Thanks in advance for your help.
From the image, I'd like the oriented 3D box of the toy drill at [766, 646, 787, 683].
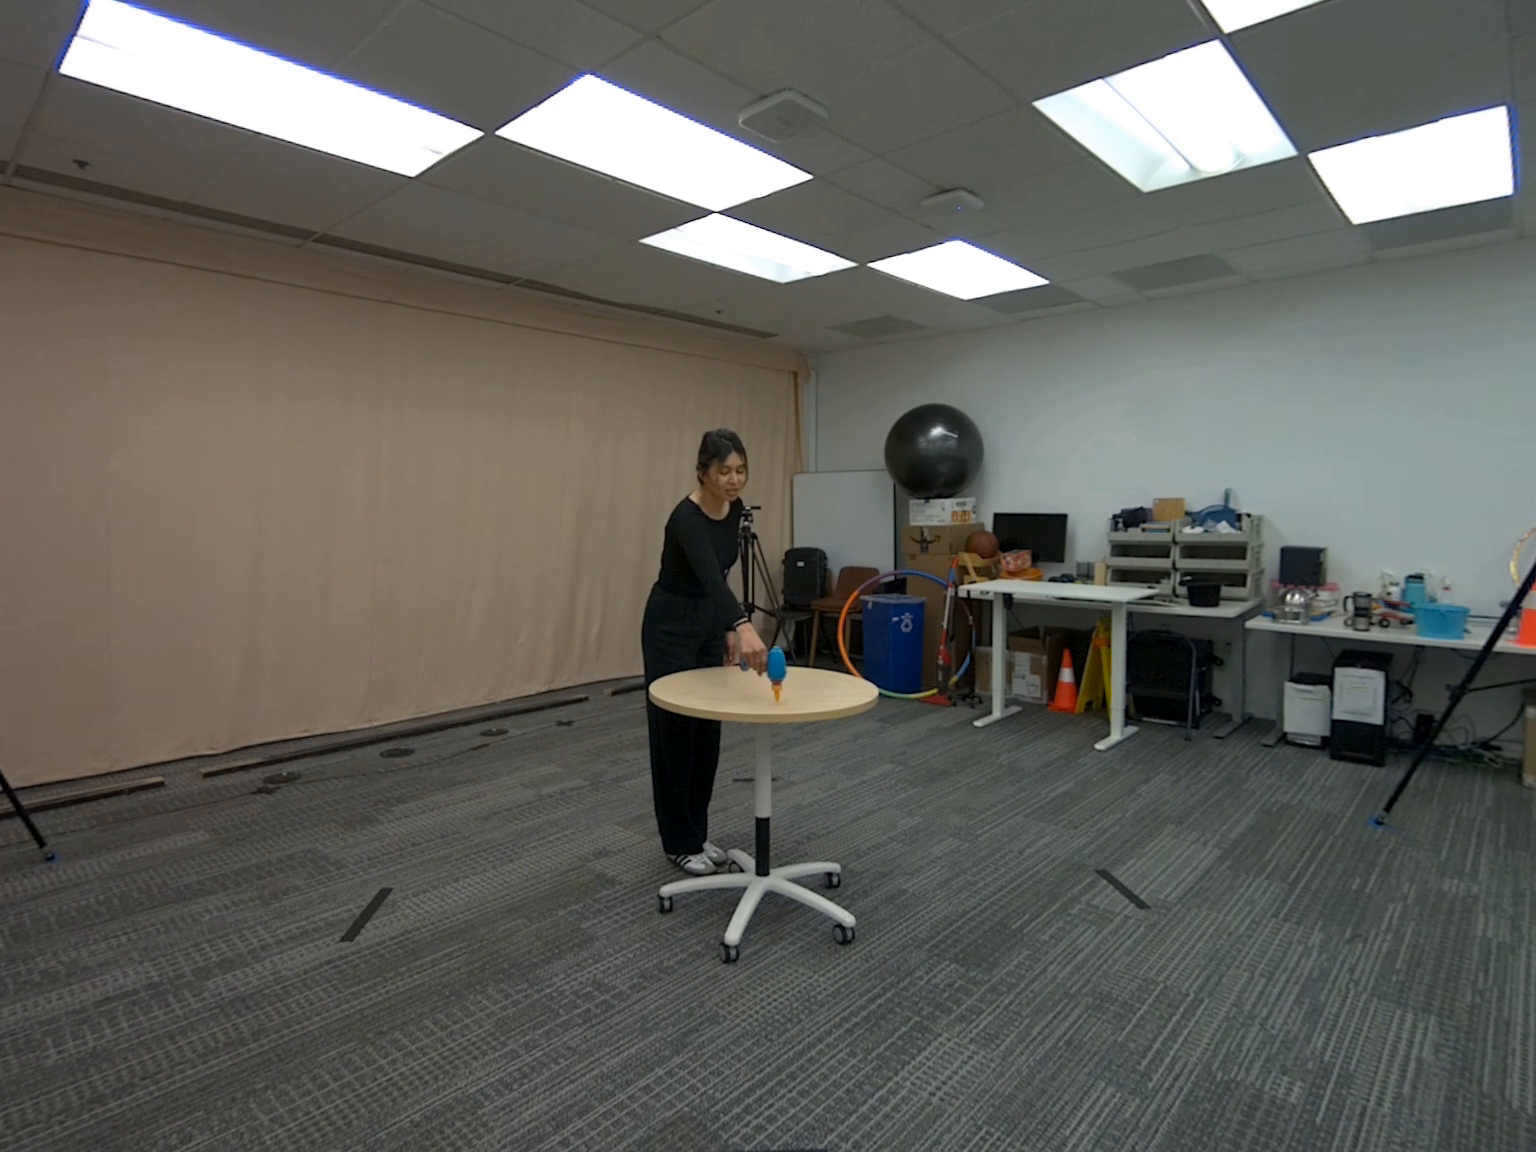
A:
[{"bbox_3d":[-0.009,0.296,2.555,0.150,0.169,0.060,2,9,25],"label":"toy drill"}]
